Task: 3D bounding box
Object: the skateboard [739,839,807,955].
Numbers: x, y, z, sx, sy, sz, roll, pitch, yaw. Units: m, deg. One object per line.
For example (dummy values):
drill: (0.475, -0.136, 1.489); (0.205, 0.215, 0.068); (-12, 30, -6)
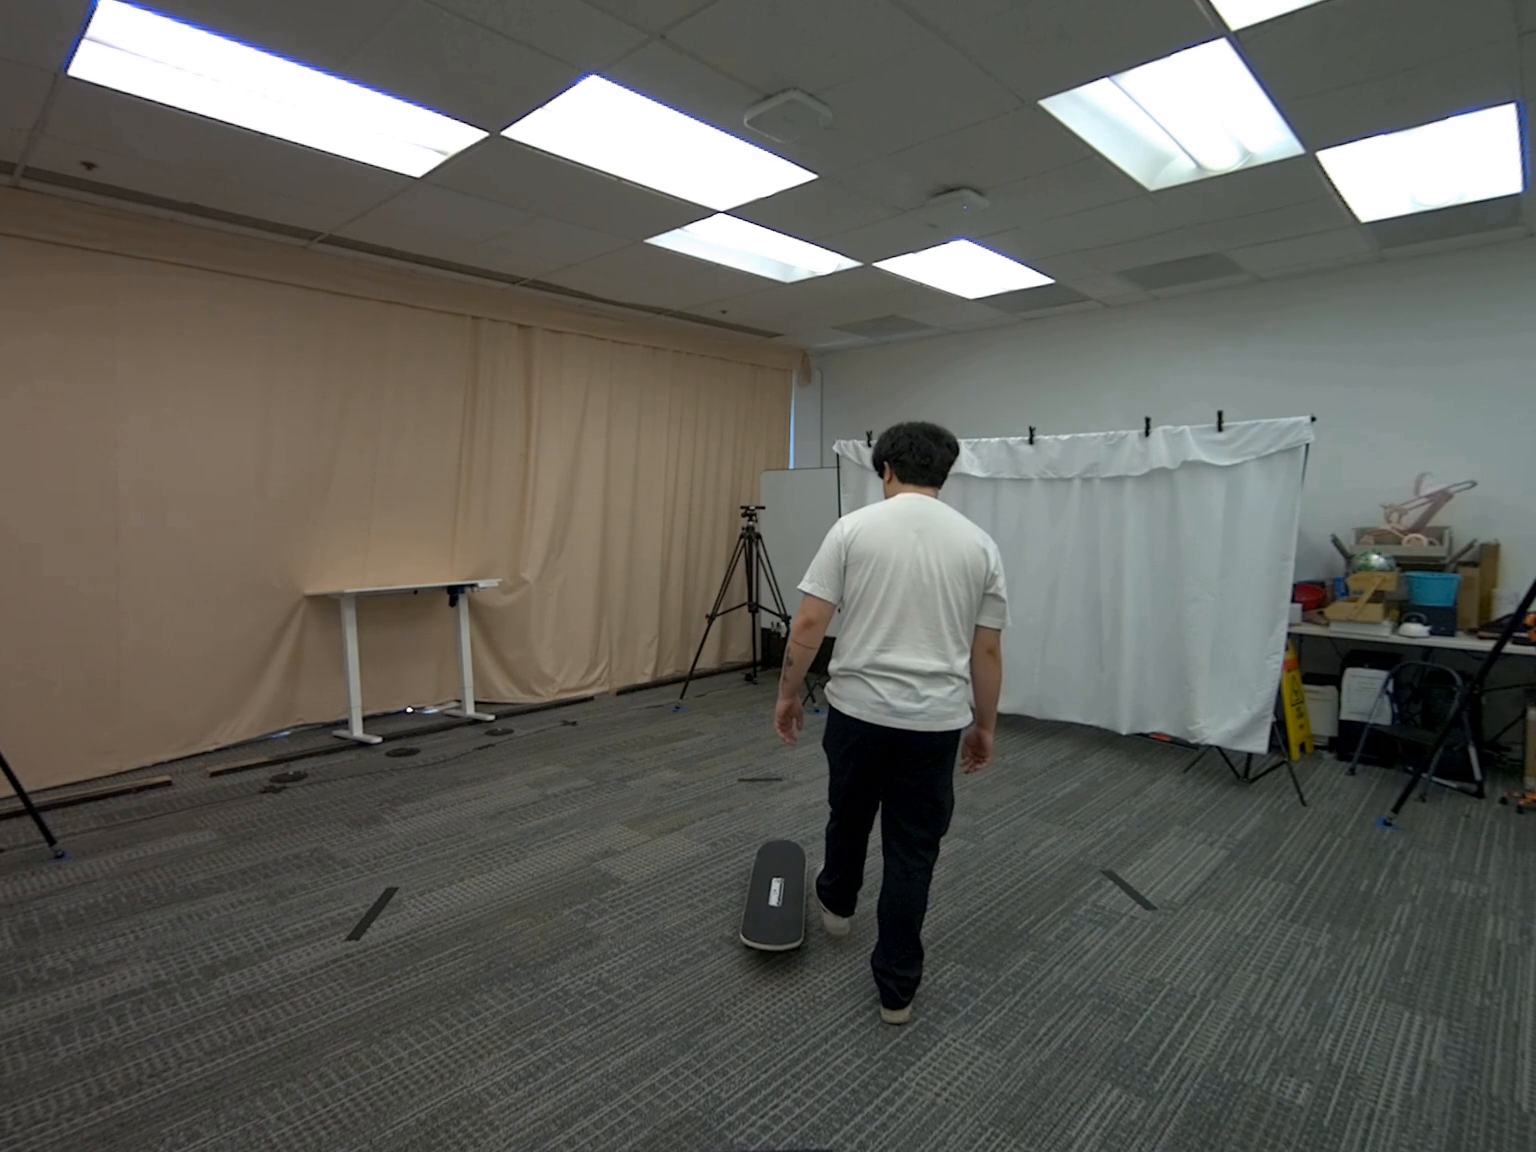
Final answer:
skateboard: (0.032, 1.097, 2.846); (0.195, 0.110, 0.782); (0, 5, 4)
